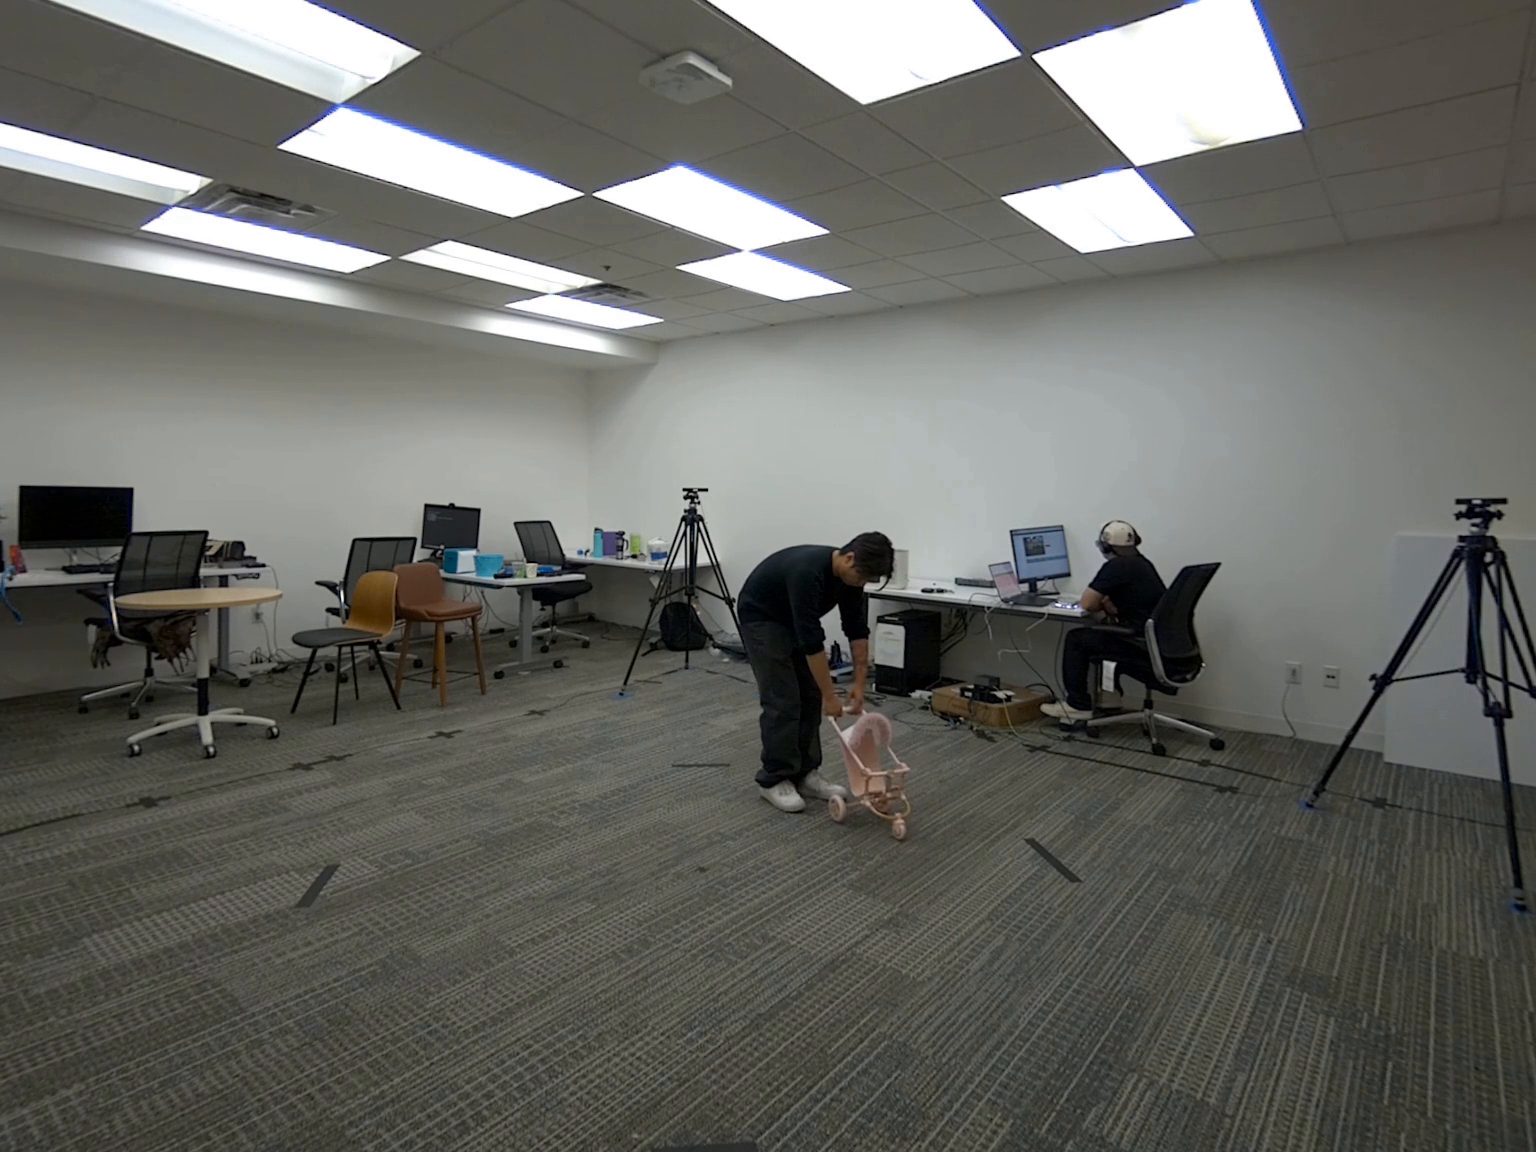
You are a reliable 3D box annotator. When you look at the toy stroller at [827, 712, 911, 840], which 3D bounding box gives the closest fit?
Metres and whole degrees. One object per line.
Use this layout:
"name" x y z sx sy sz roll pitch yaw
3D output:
"toy stroller" 0.426 0.807 3.581 0.274 0.542 0.346 1 -13 -27
